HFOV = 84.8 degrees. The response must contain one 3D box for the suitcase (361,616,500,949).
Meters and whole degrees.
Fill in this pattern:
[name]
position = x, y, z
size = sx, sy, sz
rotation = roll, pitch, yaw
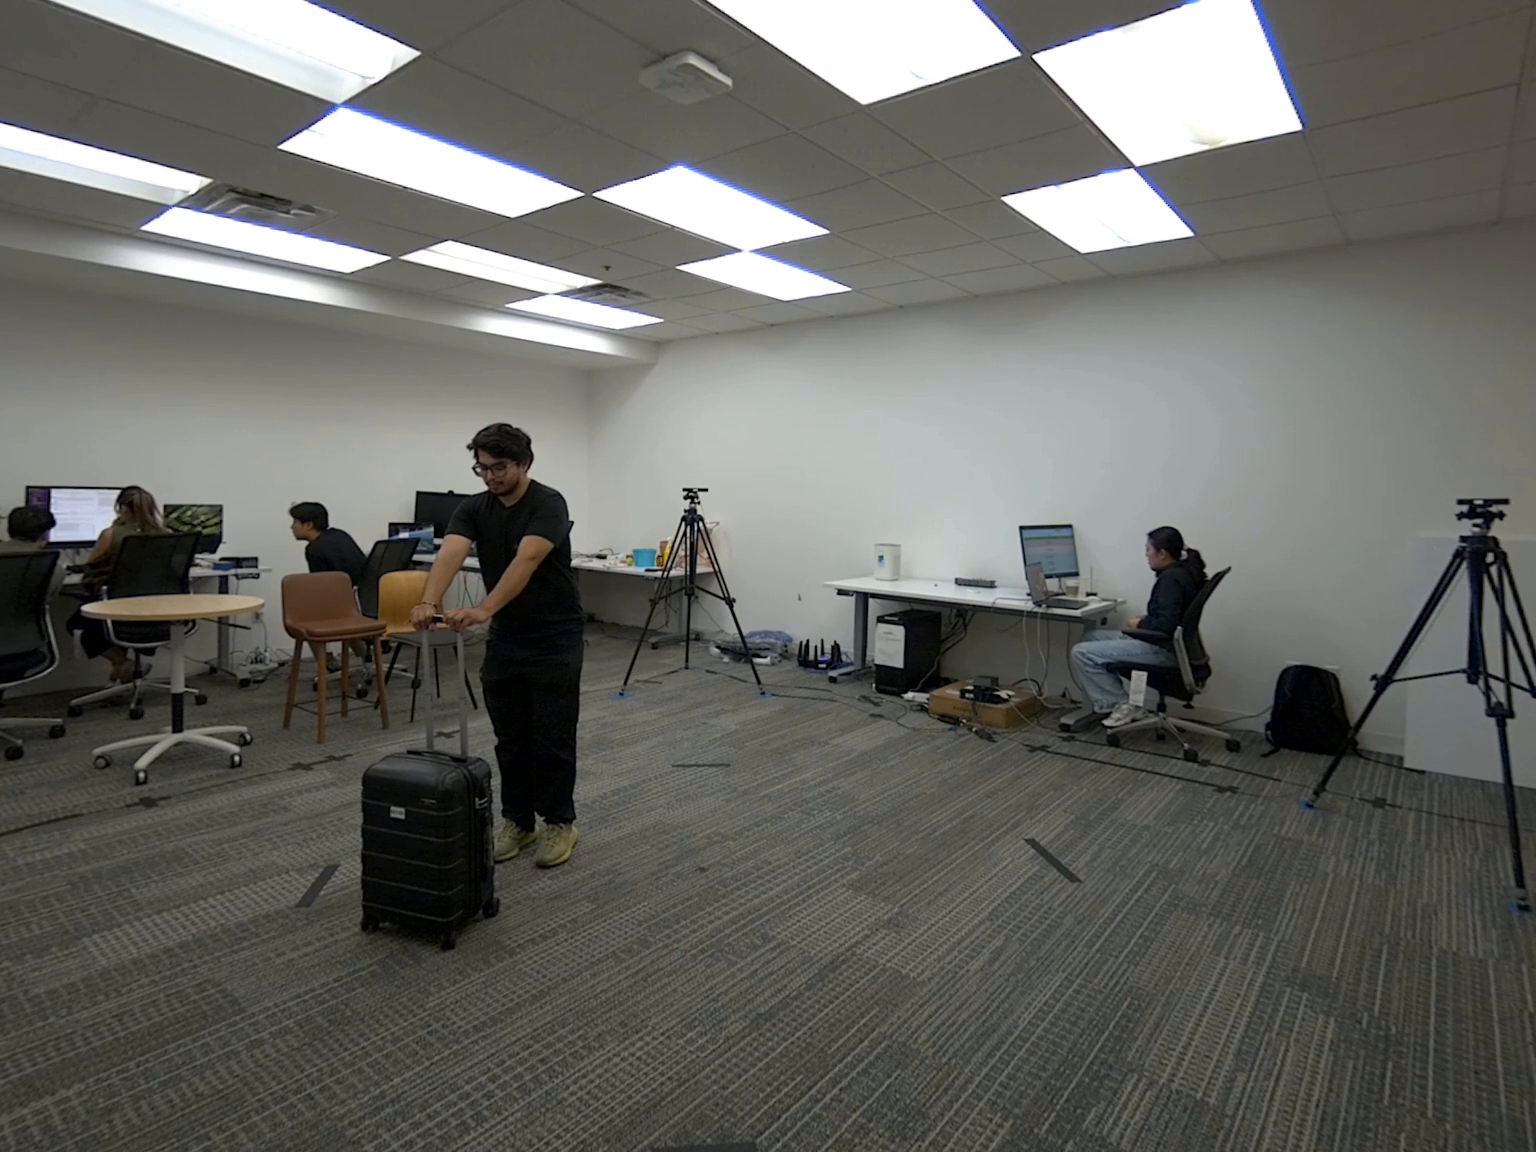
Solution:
[suitcase]
position = -1.071, 0.629, 2.640
size = 0.391, 0.972, 0.254
rotation = 3, 7, 17
